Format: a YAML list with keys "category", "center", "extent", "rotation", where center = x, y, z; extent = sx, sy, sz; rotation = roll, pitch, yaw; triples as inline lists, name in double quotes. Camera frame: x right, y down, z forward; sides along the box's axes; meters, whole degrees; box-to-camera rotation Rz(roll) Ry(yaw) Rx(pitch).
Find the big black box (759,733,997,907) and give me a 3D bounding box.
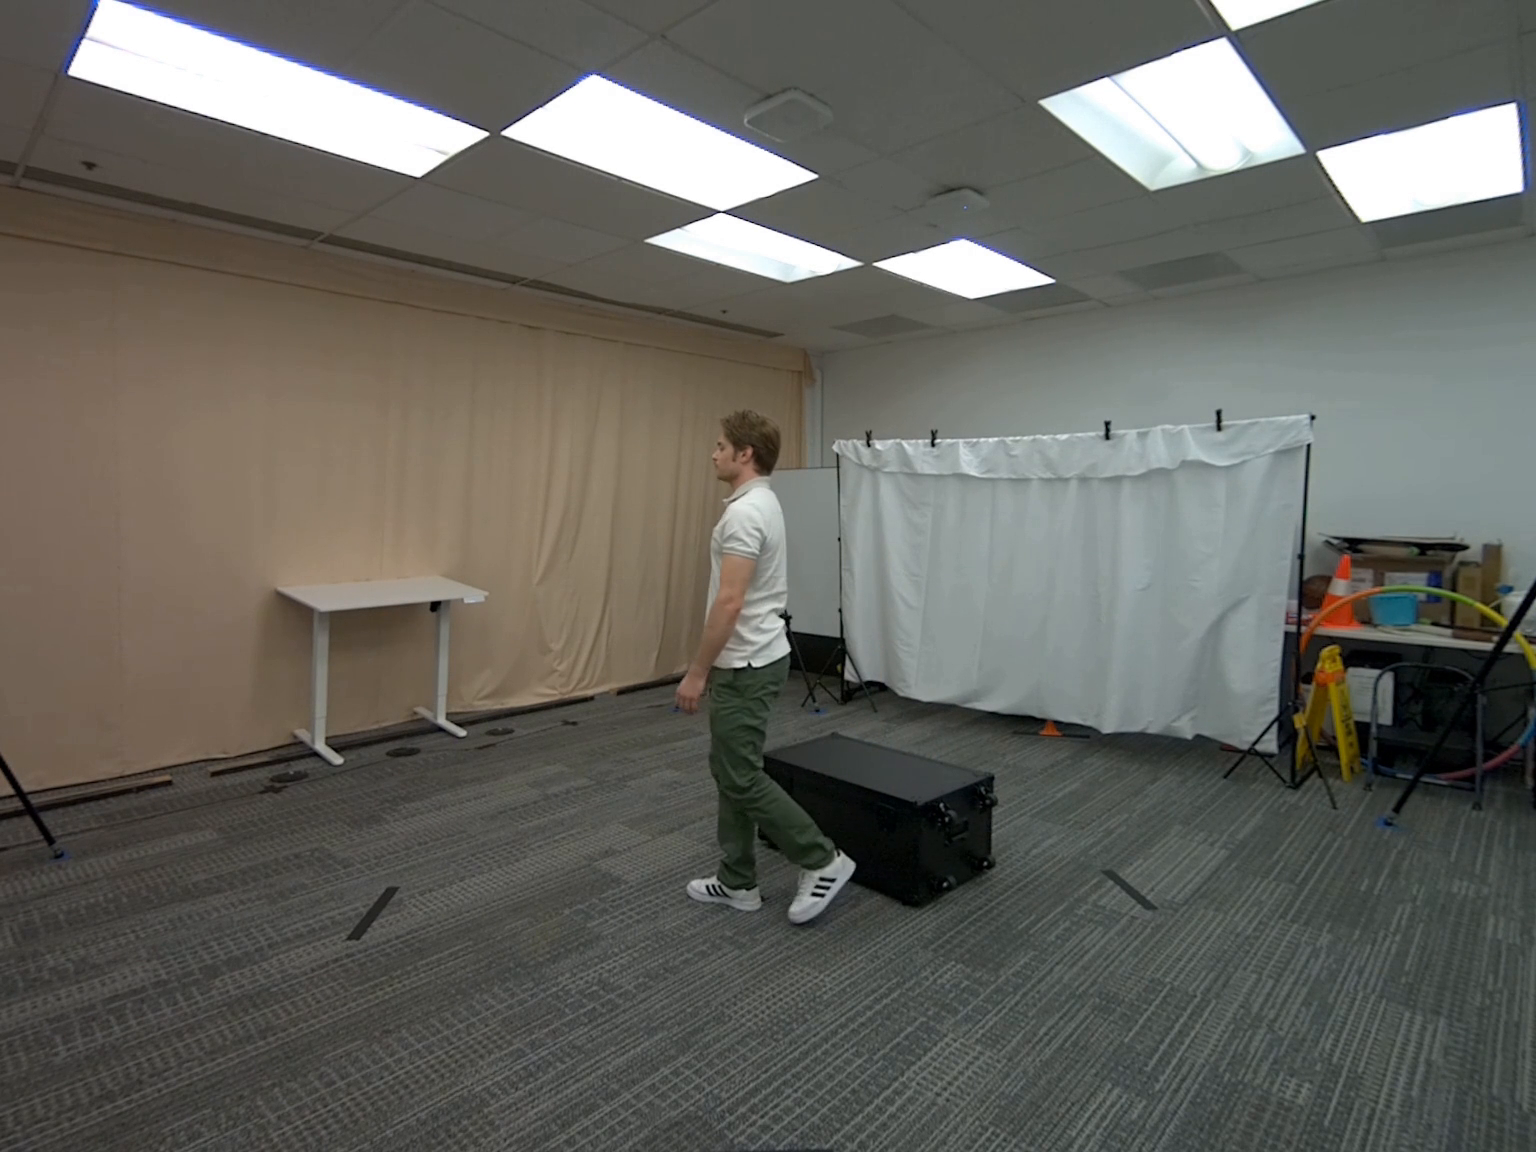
- category: "big black box"
  center: [0.431, 0.920, 3.290]
  extent: [0.507, 0.384, 0.898]
  rotation: [-2, 5, -44]
